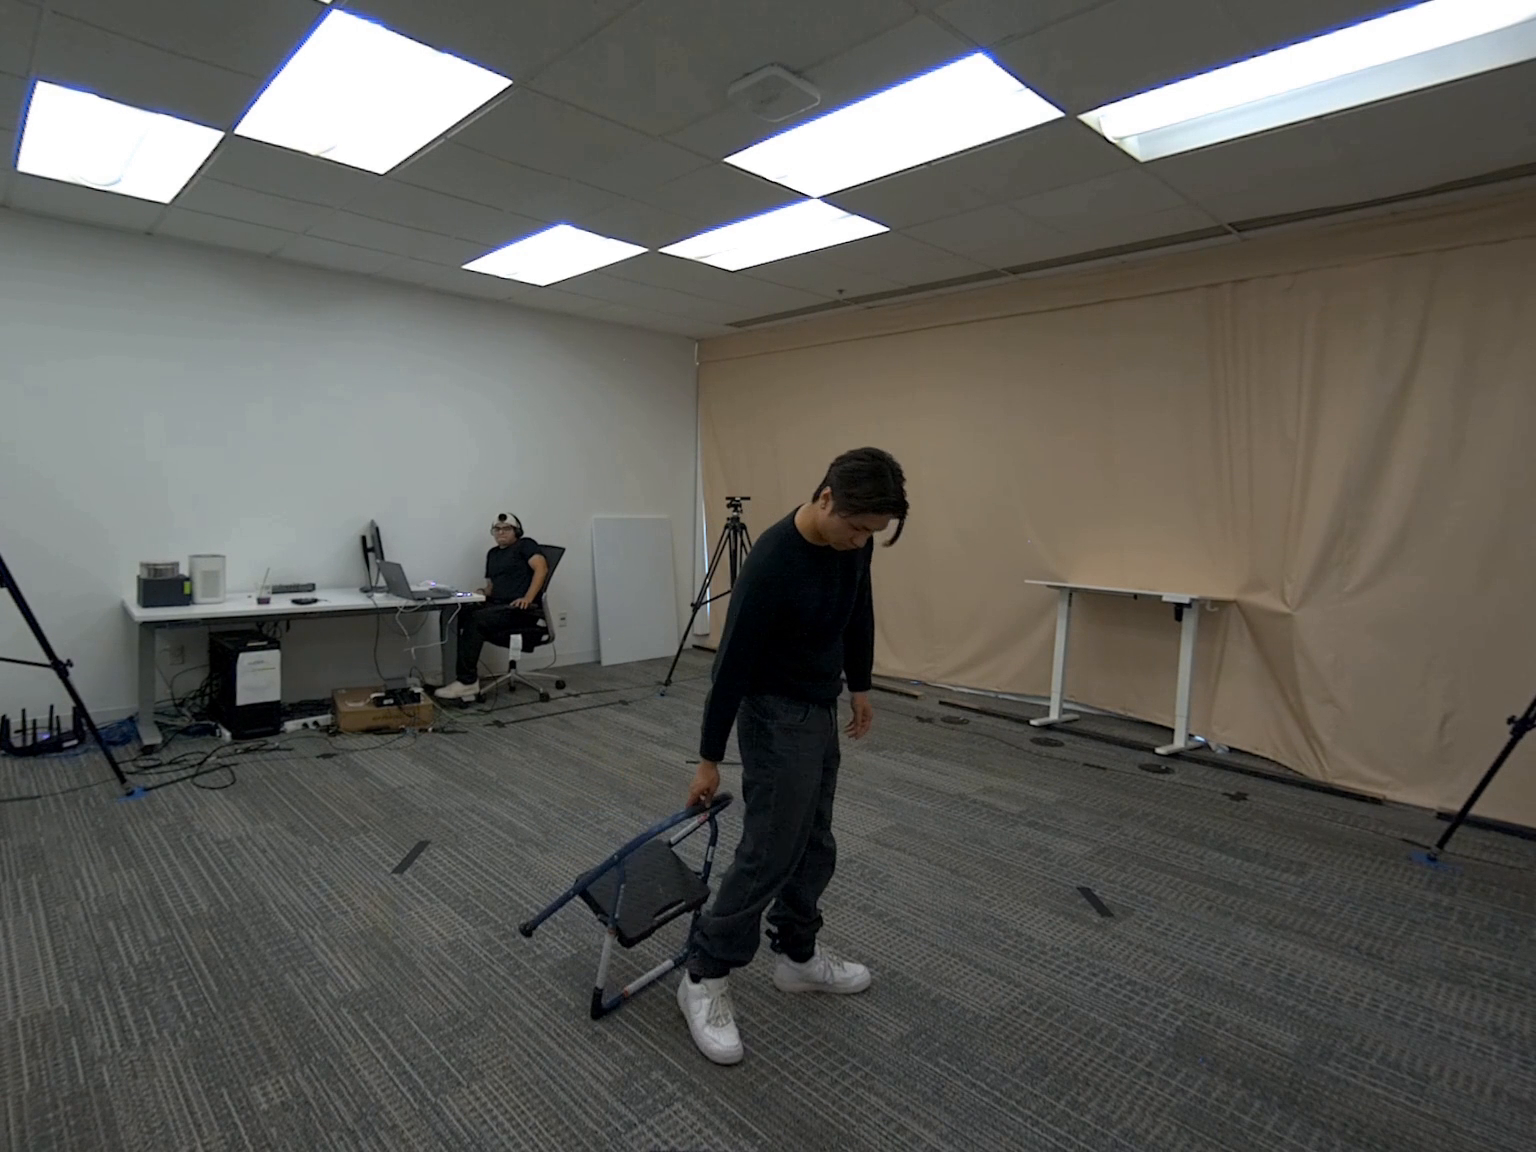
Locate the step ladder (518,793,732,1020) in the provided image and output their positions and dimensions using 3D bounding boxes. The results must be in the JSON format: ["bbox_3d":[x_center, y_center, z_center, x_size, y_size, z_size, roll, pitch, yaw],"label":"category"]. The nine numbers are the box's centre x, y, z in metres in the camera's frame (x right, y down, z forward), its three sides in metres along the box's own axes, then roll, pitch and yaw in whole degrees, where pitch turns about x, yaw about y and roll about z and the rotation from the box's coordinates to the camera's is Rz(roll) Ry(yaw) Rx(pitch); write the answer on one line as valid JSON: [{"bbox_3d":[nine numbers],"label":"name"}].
[{"bbox_3d":[-0.348,0.827,2.374,0.359,0.602,0.422,36,22,28],"label":"step ladder"}]
